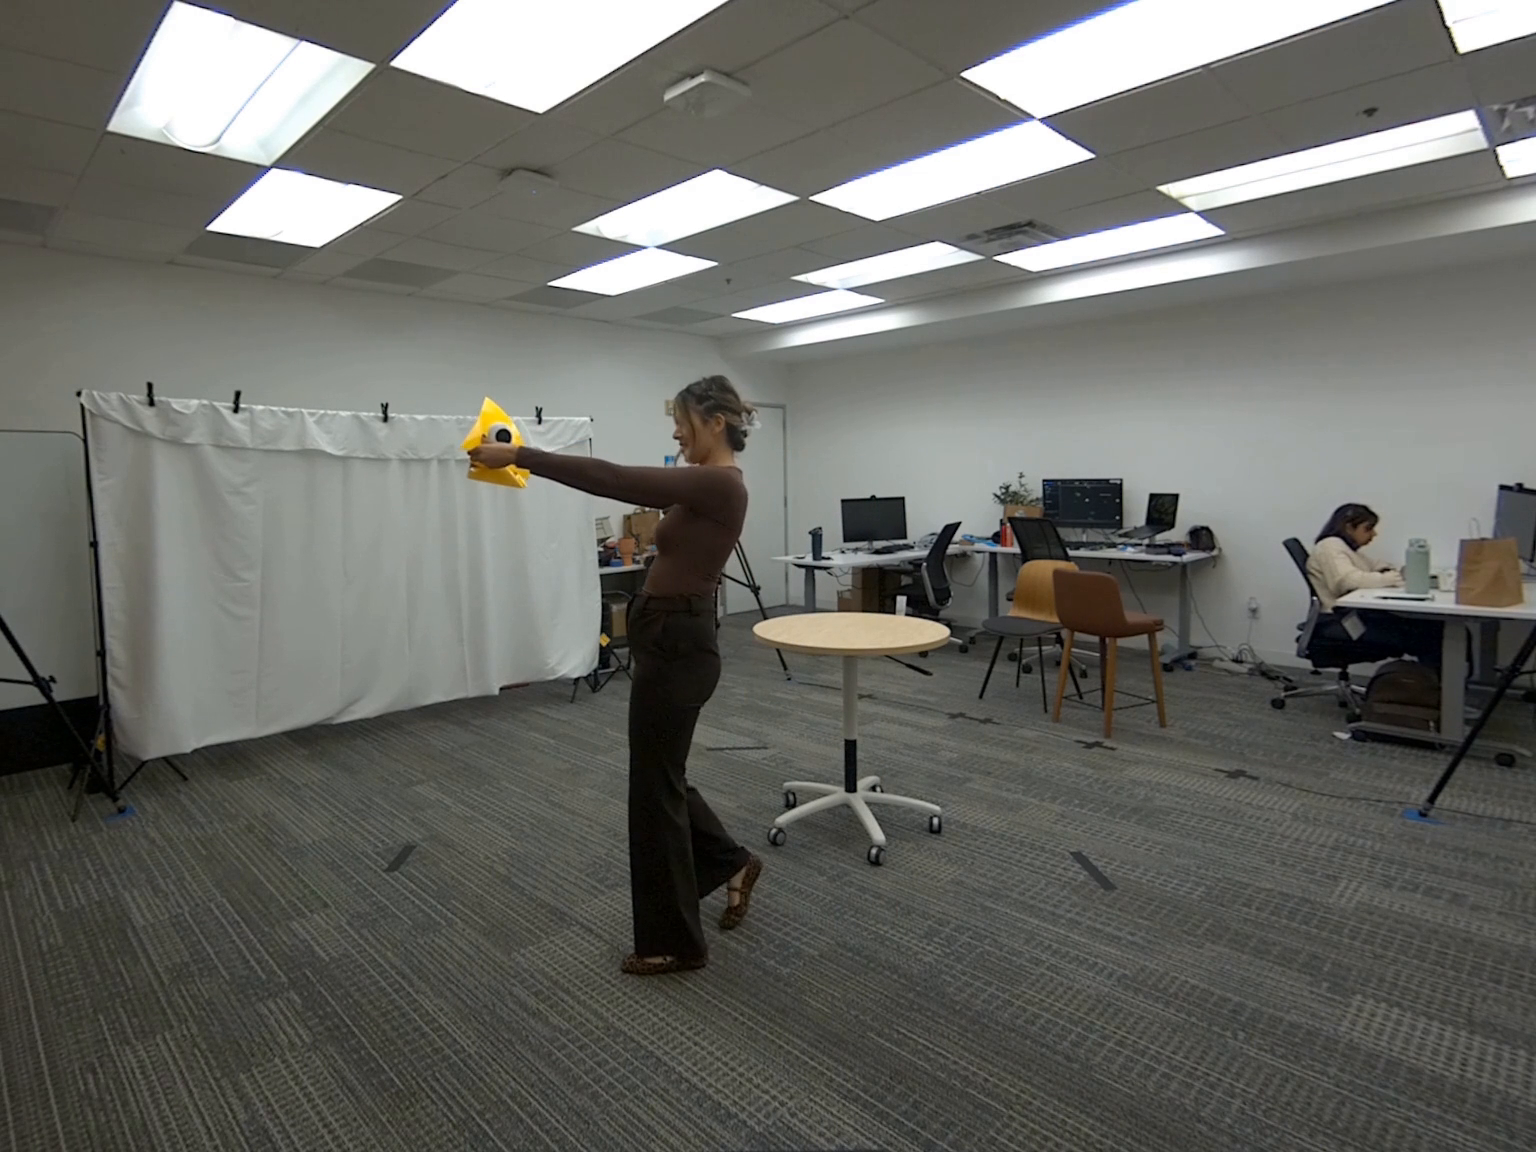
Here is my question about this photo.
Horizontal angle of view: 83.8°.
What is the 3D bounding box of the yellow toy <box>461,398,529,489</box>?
[{"bbox_3d":[-0.741,-0.378,2.401,0.191,0.230,0.207,10,4,-10],"label":"yellow toy"}]
